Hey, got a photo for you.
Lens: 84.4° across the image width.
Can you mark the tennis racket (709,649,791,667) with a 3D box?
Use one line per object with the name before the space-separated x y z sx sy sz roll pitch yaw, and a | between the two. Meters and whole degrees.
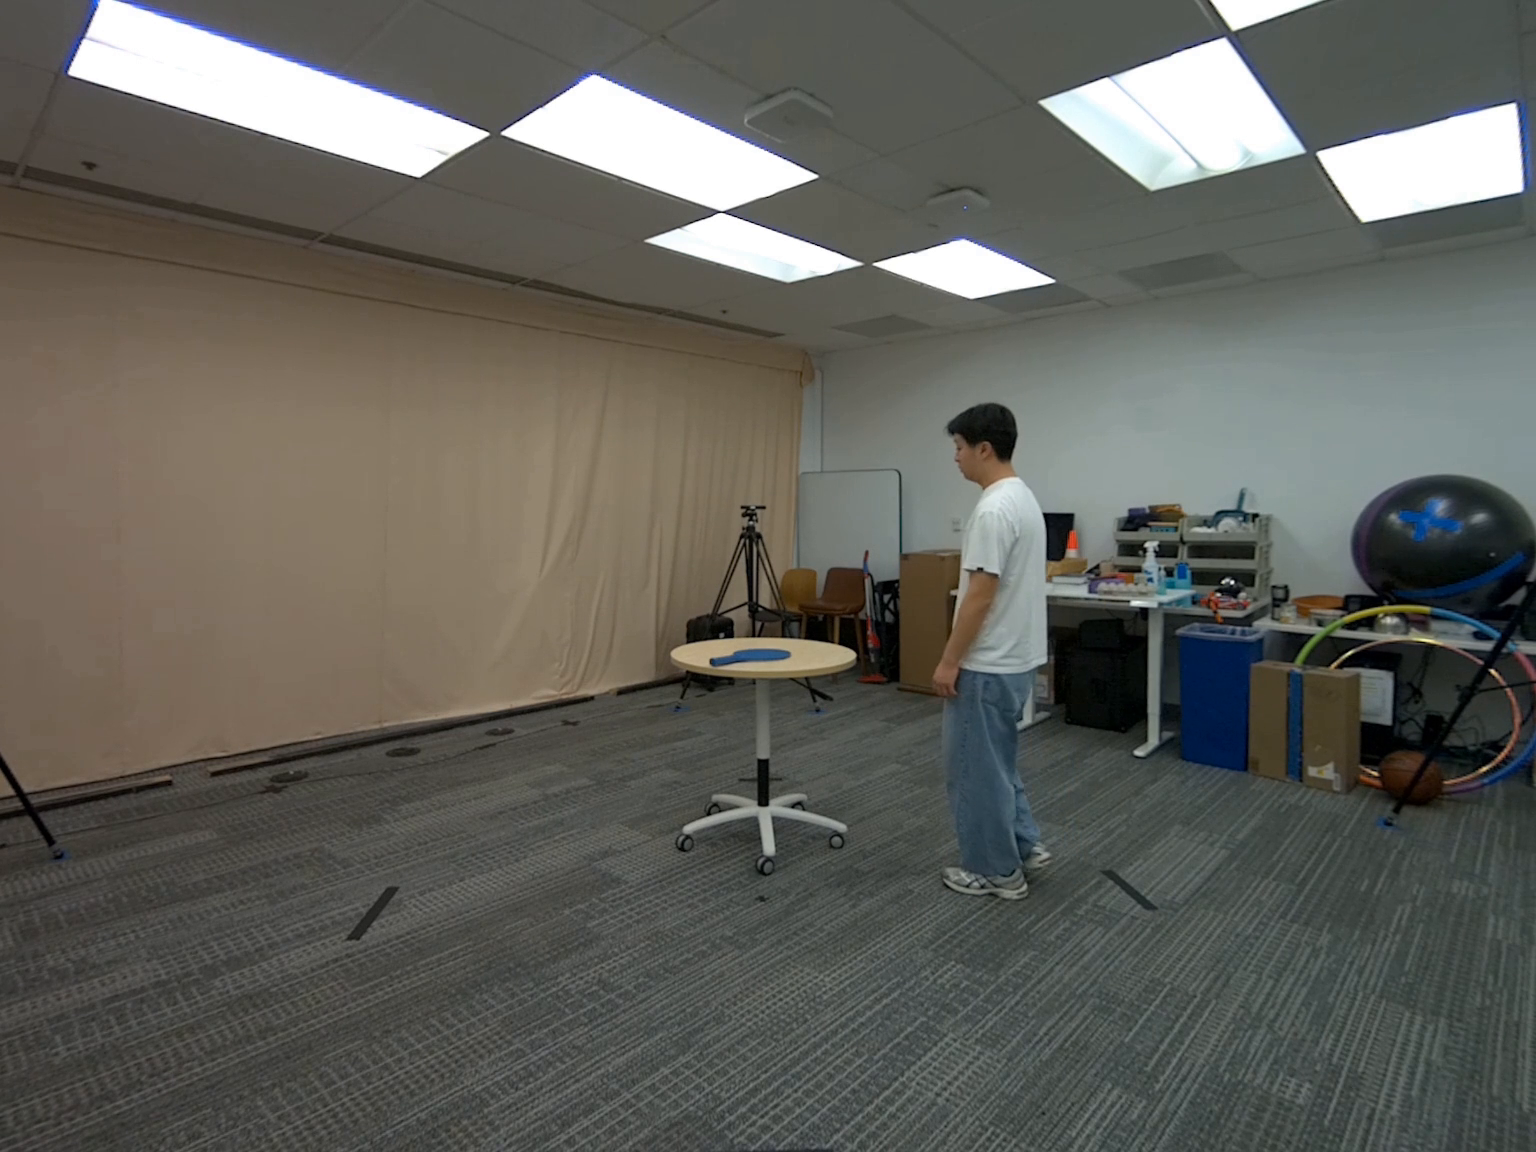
tennis racket | -0.069 0.321 3.352 0.221 0.032 0.419 4 5 42
